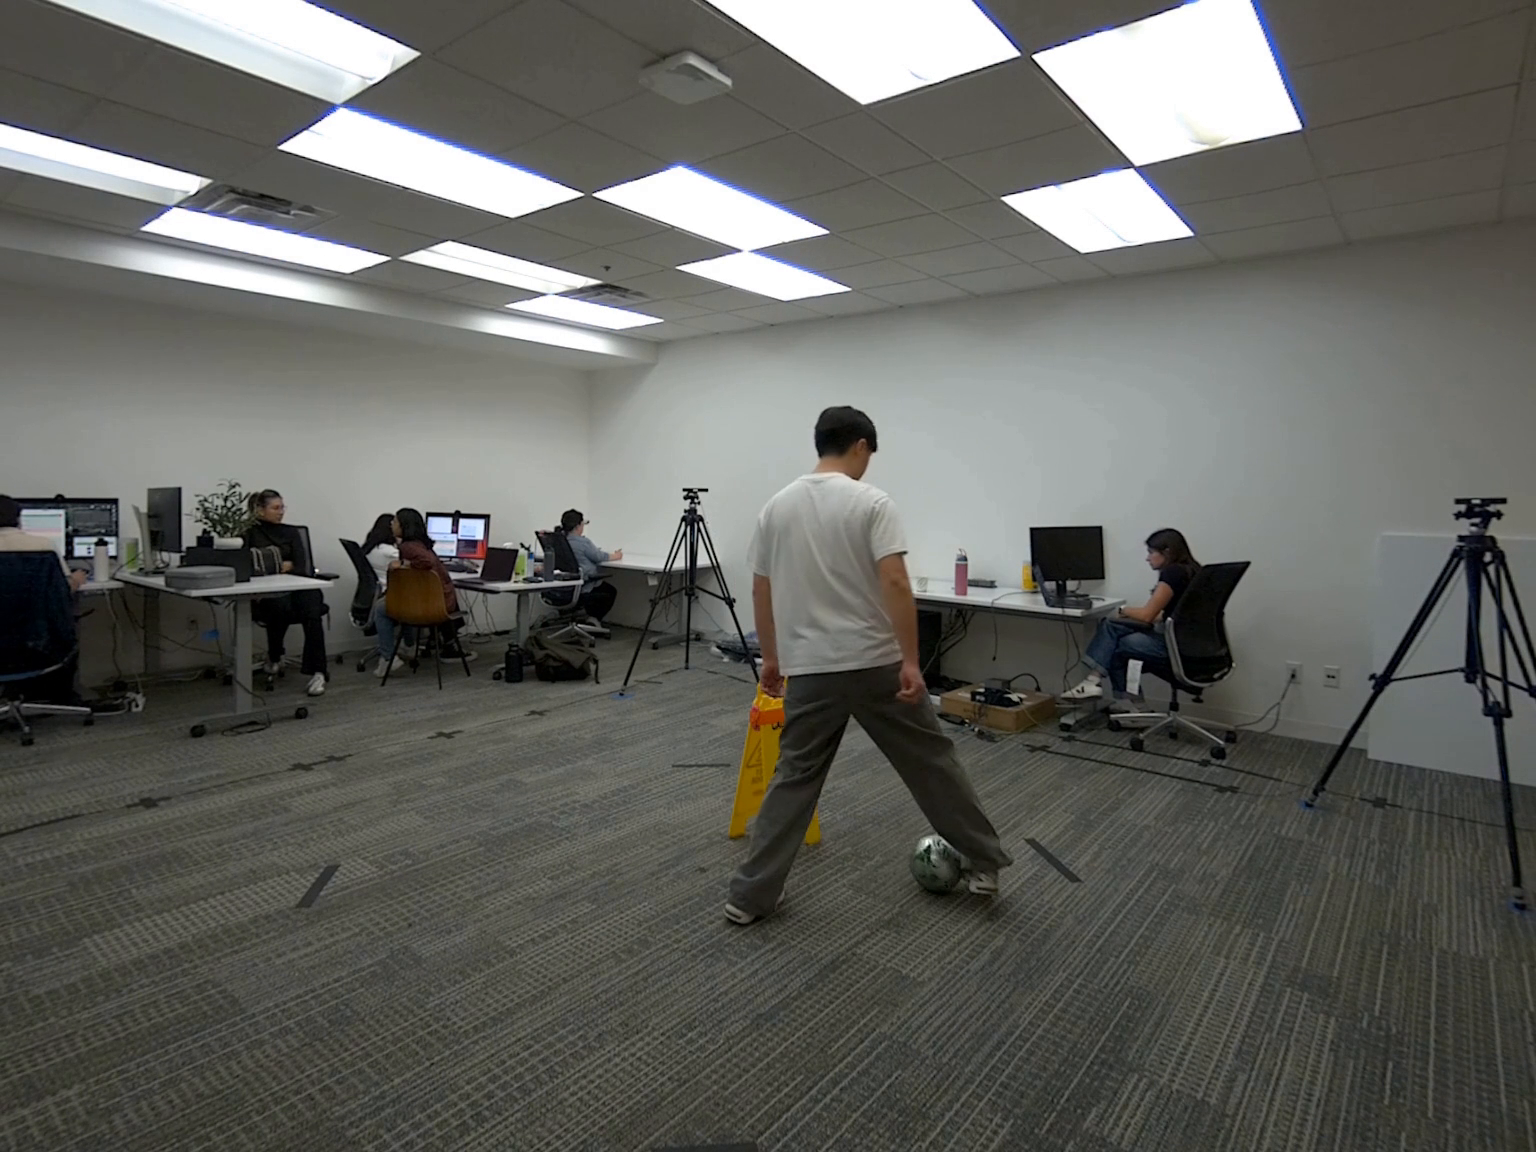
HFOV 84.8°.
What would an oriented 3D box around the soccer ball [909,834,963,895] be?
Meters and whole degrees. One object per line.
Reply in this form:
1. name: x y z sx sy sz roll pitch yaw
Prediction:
1. soccer ball: 0.583 1.002 2.992 0.187 0.187 0.188 1 4 -2
